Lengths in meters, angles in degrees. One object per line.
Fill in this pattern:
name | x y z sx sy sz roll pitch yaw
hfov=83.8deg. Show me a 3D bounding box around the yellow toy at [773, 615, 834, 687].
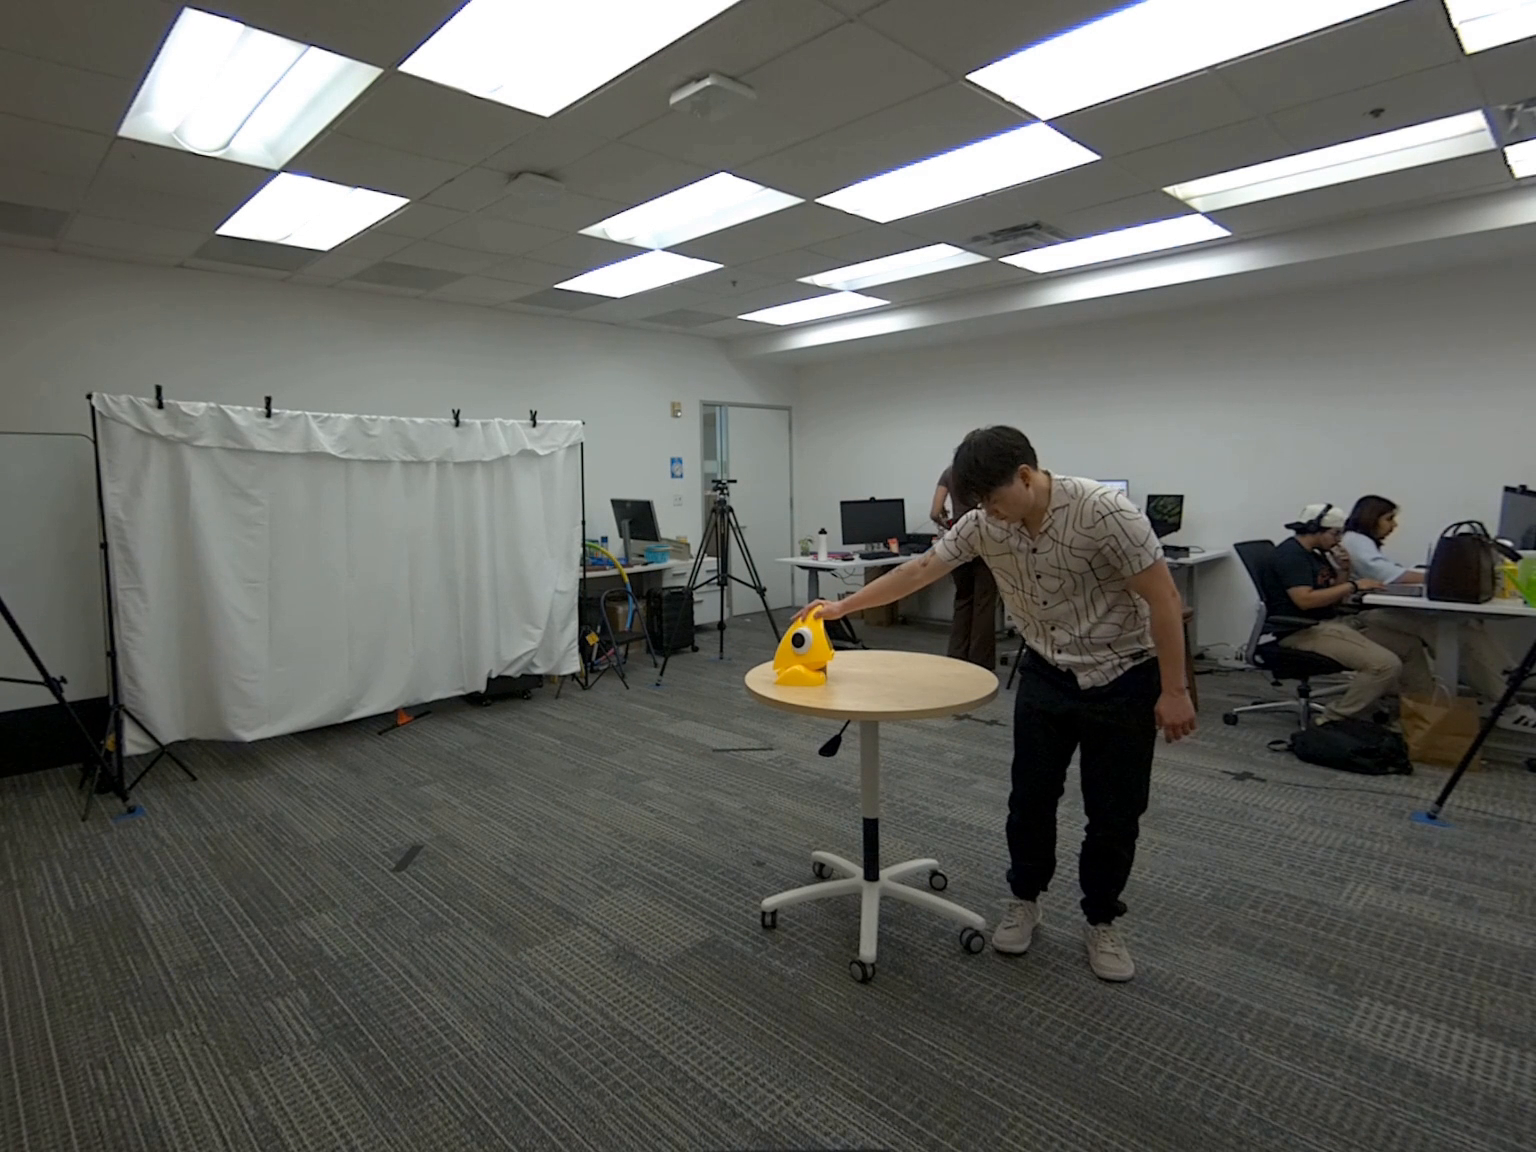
yellow toy | 0.112 0.206 2.634 0.194 0.229 0.204 0 6 5
